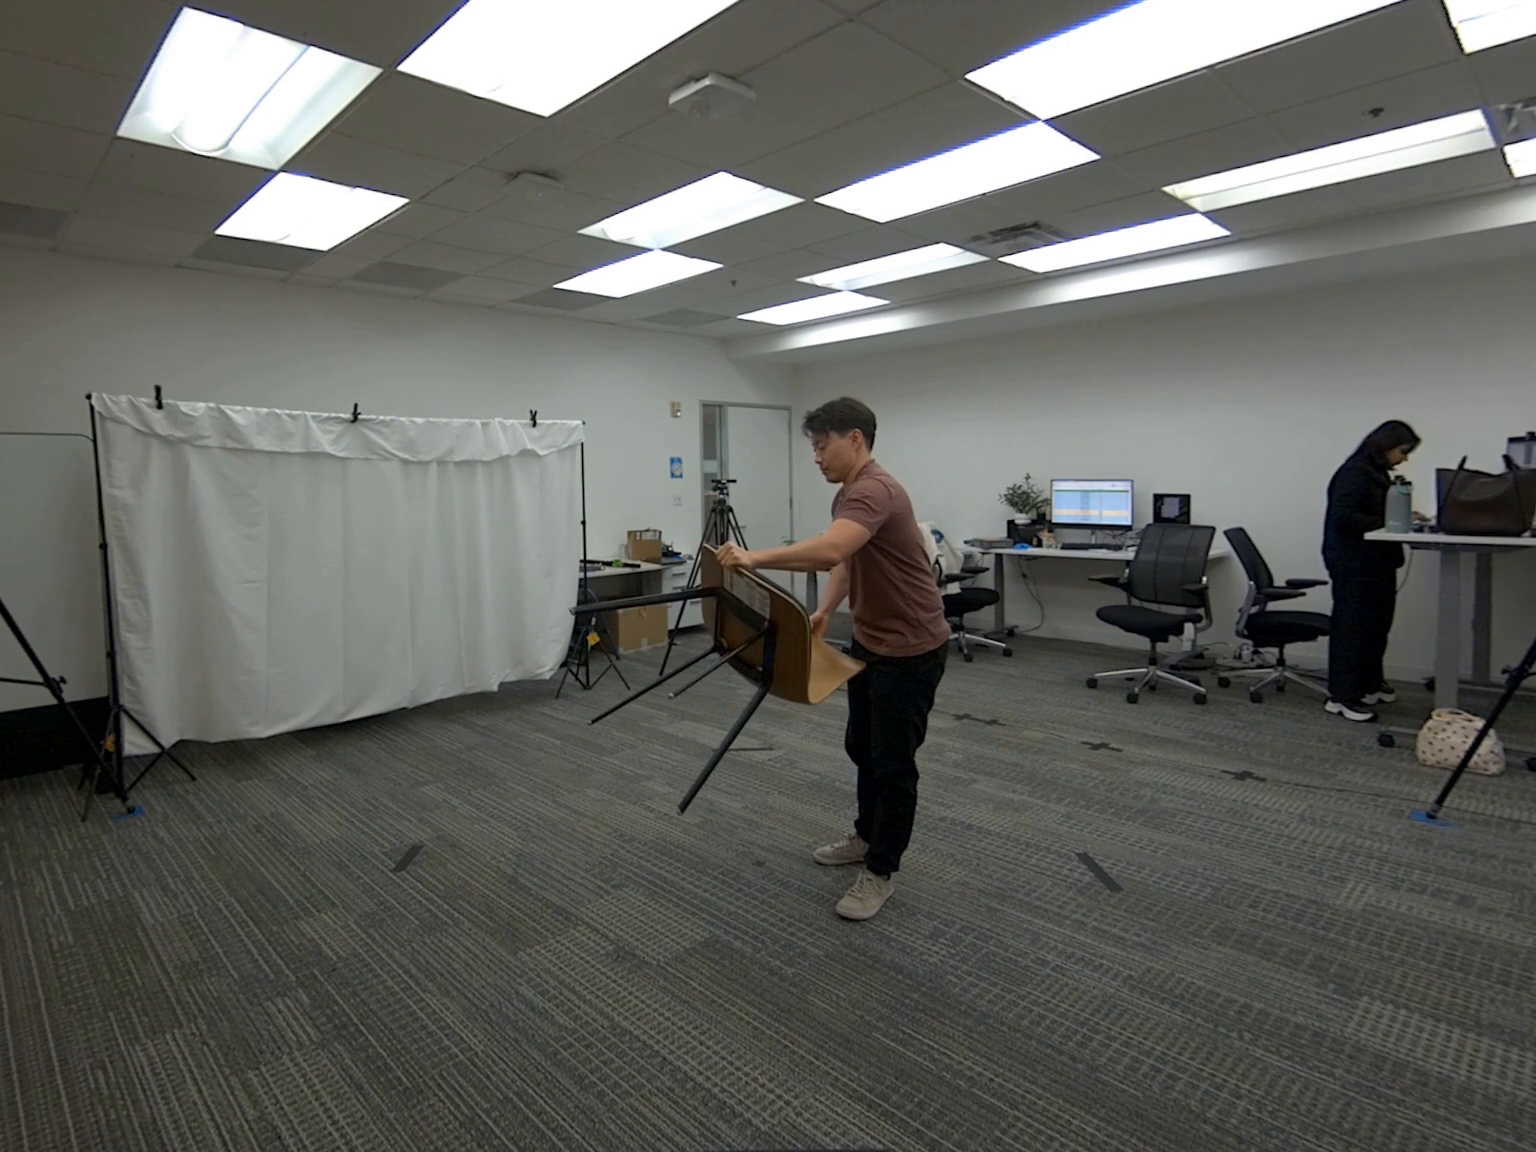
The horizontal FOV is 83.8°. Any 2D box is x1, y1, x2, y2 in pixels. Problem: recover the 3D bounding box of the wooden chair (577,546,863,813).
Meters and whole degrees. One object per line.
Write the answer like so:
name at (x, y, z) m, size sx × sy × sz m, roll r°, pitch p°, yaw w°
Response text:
wooden chair at (-0.074, 0.187, 2.553) m, size 0.865 × 0.511 × 0.496 m, roll -26°, pitch 43°, yaw -35°
